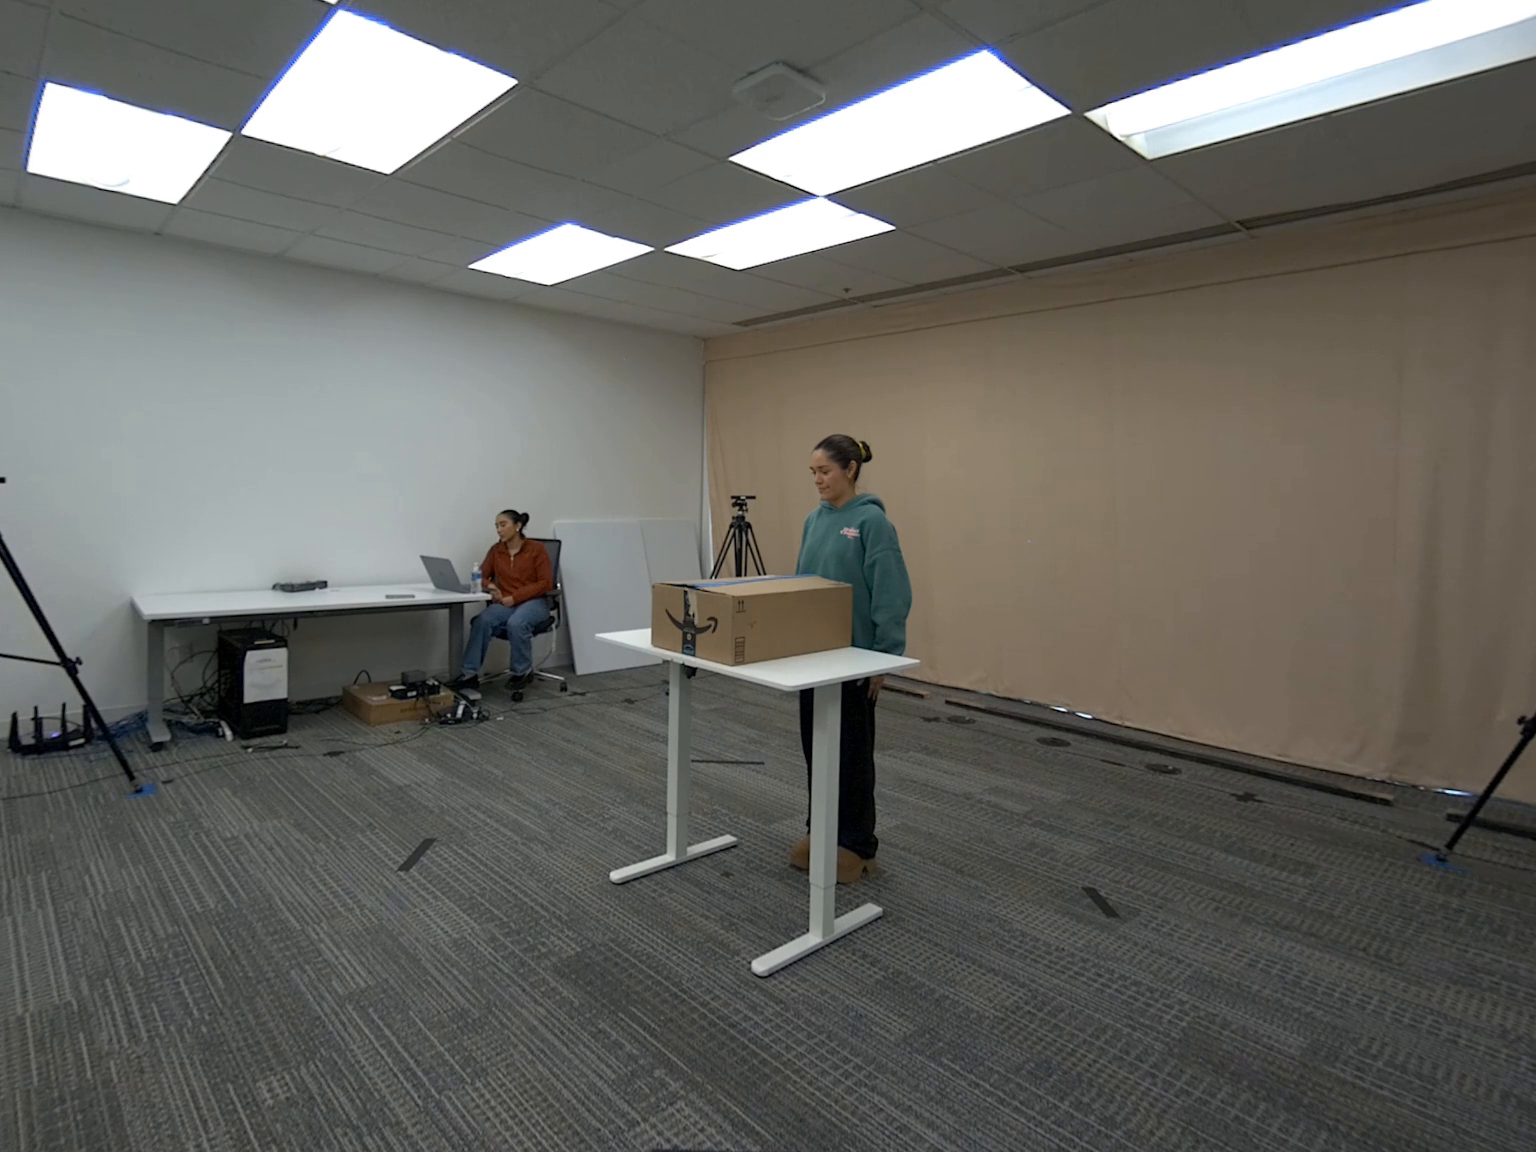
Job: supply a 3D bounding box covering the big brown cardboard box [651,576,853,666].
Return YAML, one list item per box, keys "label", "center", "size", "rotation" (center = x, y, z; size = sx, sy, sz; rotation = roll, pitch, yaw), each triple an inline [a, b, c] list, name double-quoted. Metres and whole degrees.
- label: "big brown cardboard box"
  center: [-0.054, 0.134, 2.879]
  size: [0.576, 0.232, 0.428]
  rotation: [-5, 8, -44]
